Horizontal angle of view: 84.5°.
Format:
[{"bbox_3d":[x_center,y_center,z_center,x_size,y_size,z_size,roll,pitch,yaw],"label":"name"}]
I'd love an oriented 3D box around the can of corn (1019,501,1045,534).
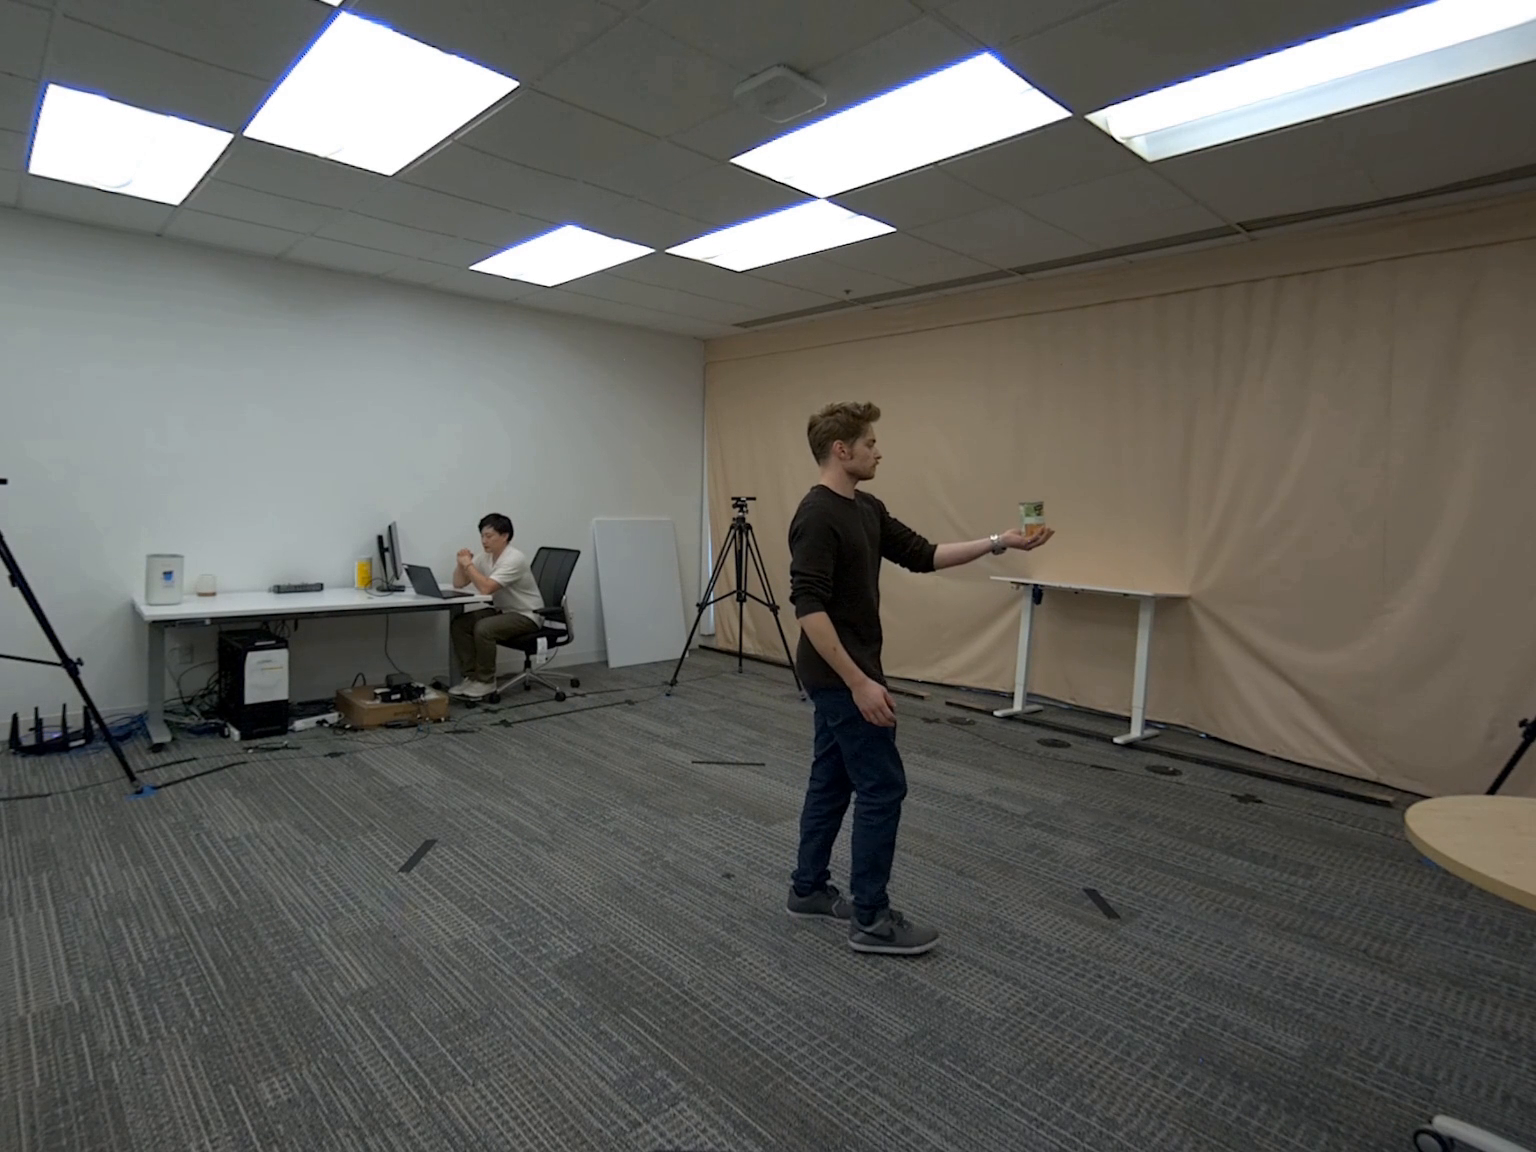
[{"bbox_3d":[0.839,-0.176,2.667,0.074,0.111,0.074,-4,1,-1],"label":"can of corn"}]
